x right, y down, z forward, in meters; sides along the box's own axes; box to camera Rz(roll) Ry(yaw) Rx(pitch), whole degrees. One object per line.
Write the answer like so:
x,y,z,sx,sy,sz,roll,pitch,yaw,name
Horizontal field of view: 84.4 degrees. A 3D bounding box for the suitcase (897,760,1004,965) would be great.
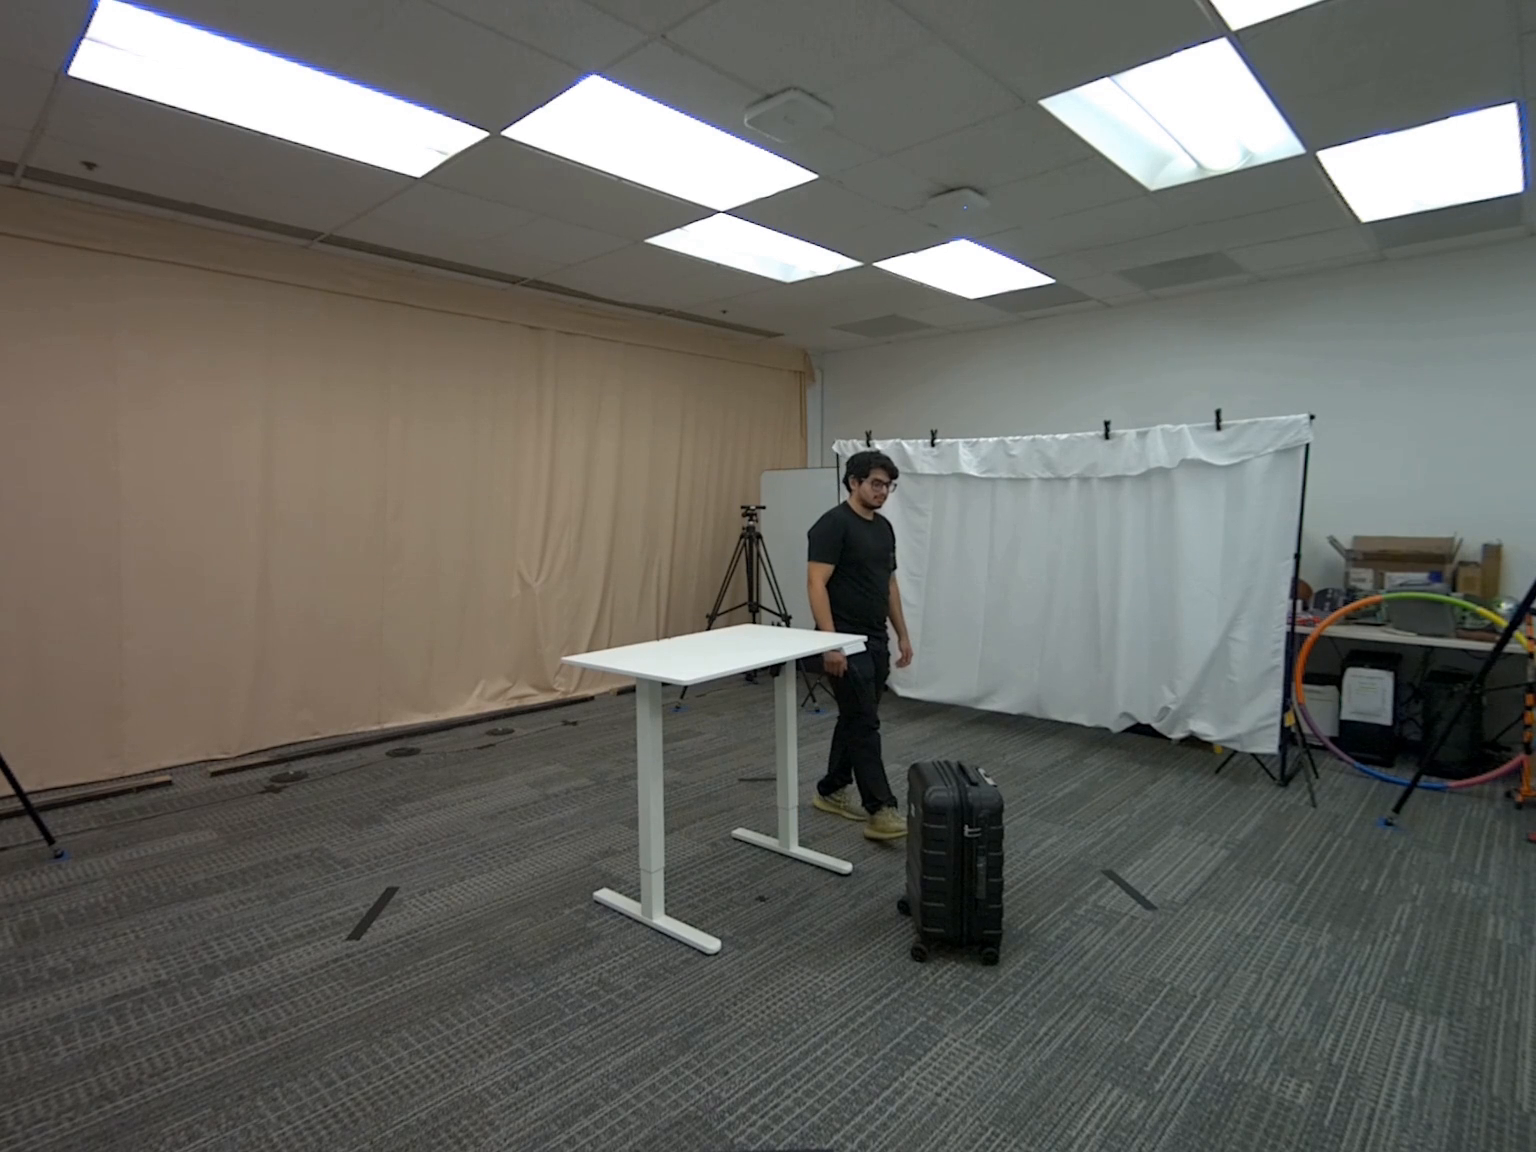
0.596,0.893,2.694,0.249,0.548,0.376,2,5,0,suitcase
